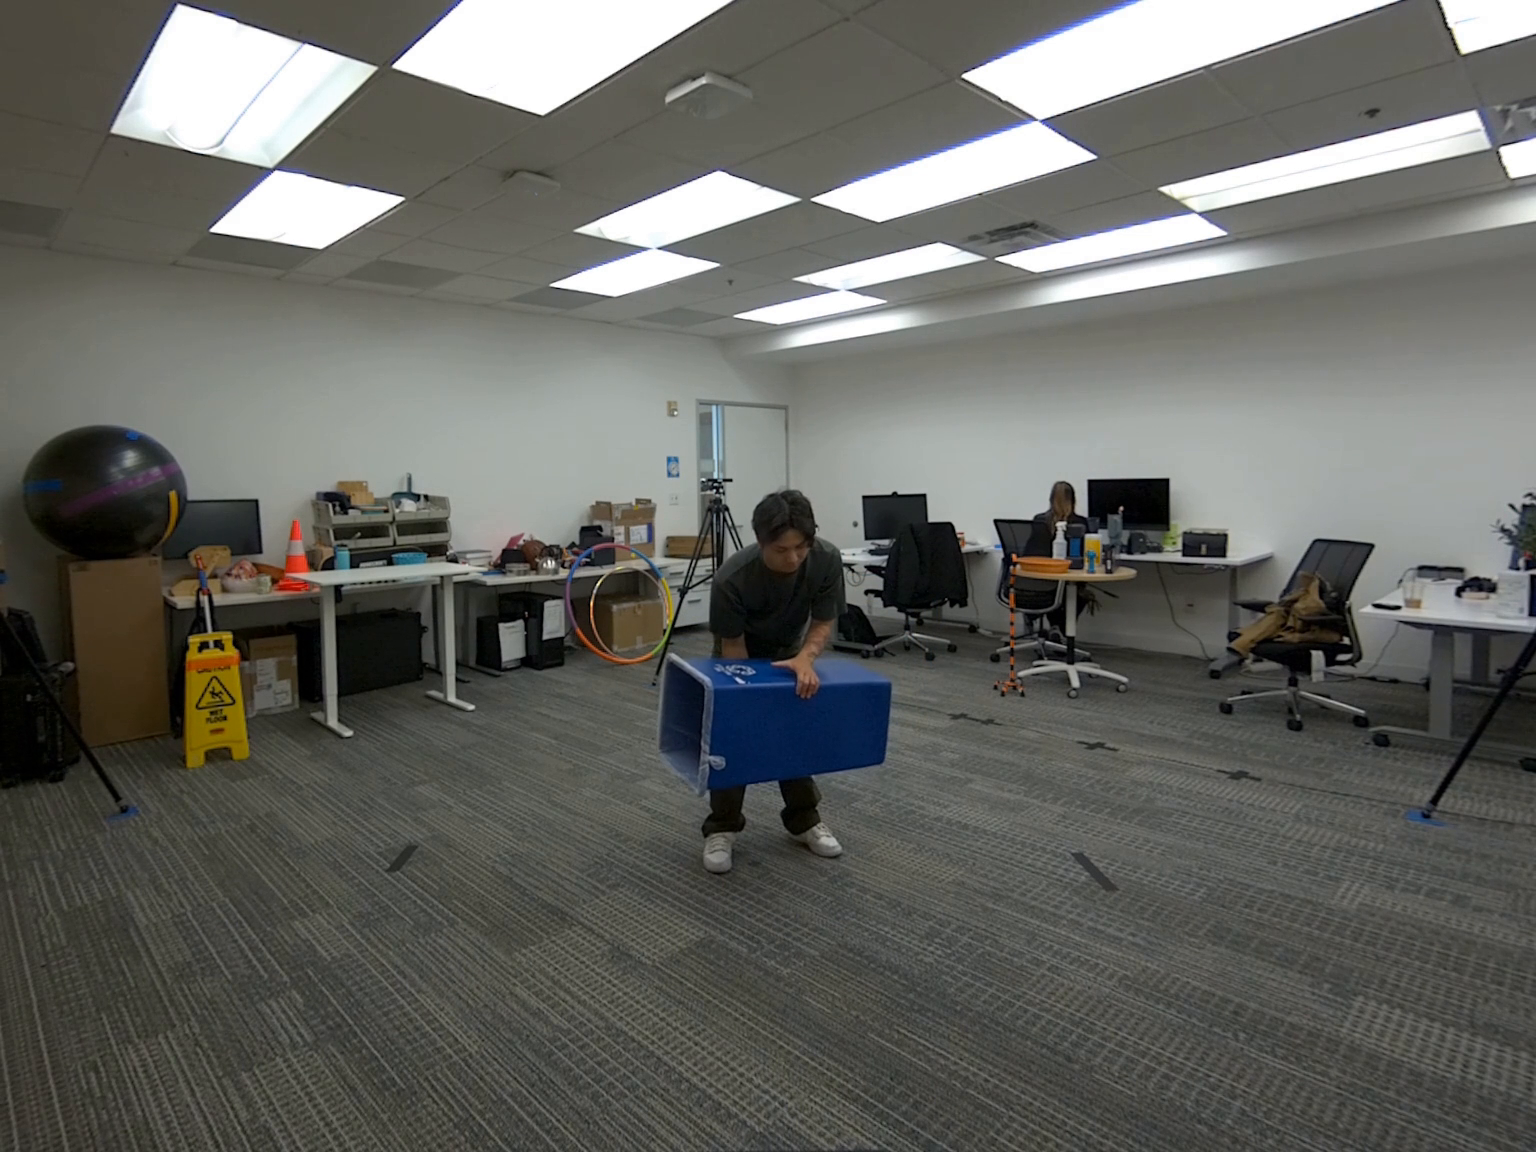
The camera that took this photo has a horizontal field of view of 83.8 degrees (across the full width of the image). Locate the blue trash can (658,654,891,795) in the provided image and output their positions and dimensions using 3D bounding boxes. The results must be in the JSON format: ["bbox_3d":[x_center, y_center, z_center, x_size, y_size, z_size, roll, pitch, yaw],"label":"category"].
[{"bbox_3d":[0.036,0.486,2.905,0.697,0.372,0.389,2,7,-26],"label":"blue trash can"}]
